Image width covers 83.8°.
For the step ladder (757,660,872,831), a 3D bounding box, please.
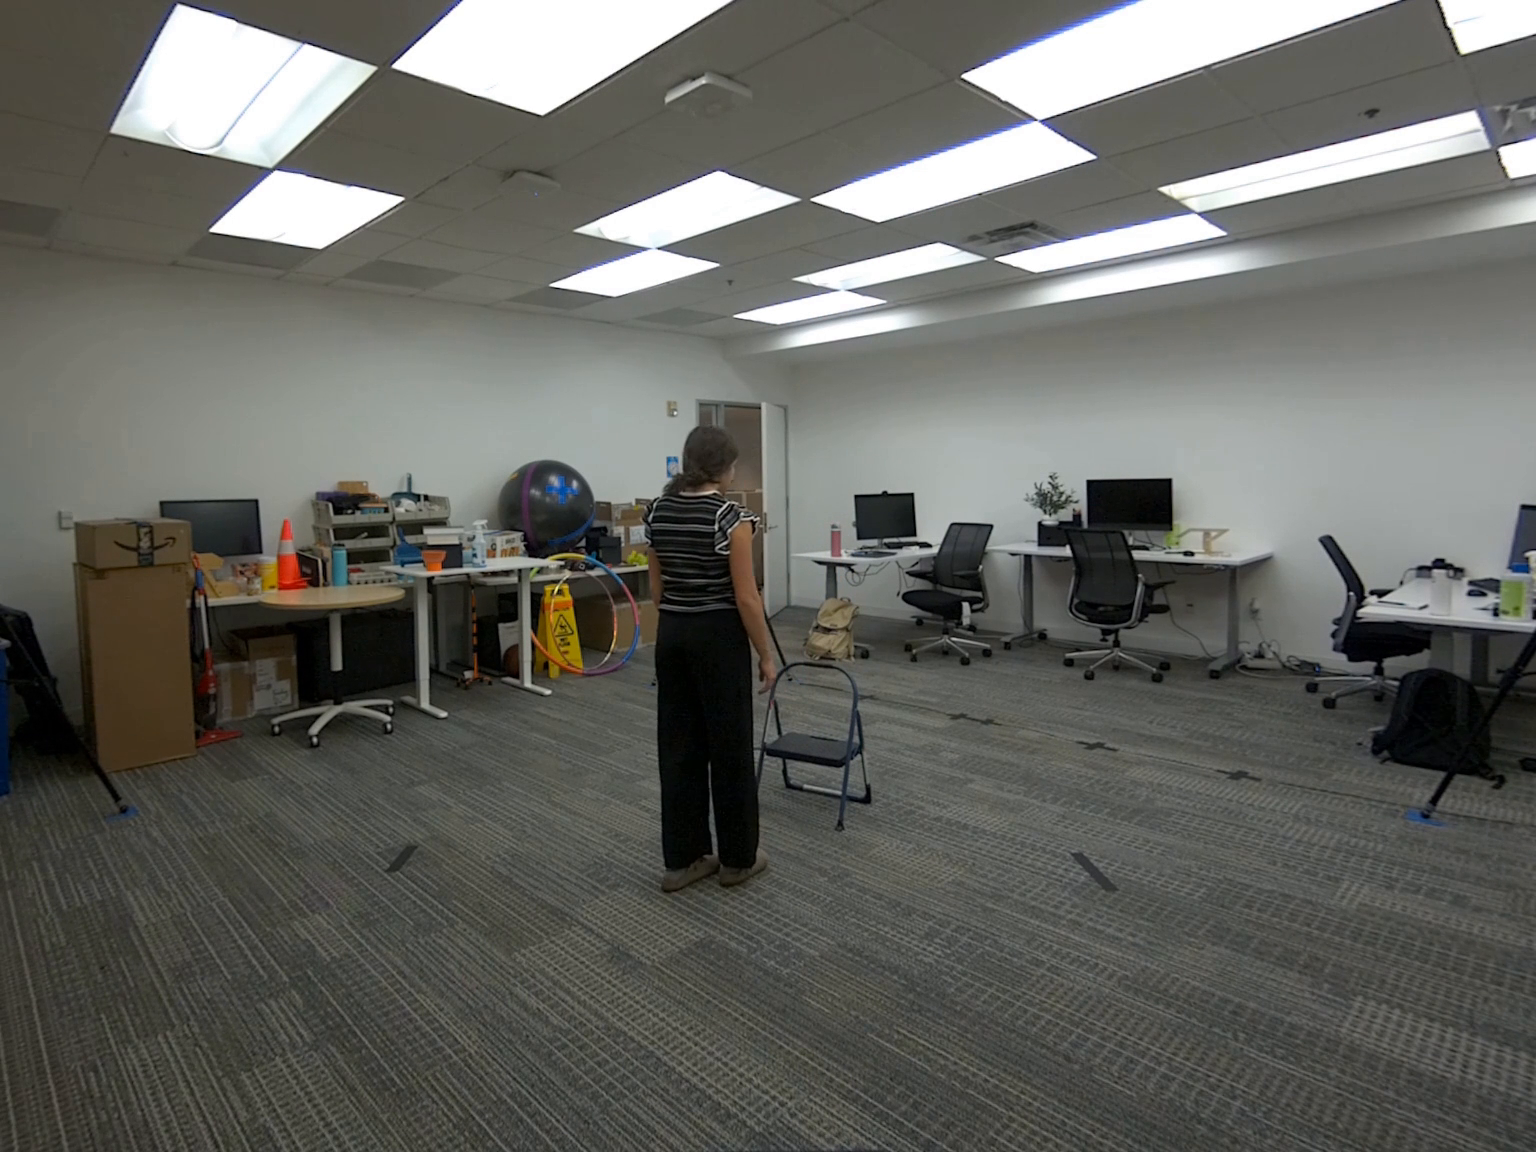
[{"bbox_3d":[0.184,0.682,3.615,0.442,0.604,0.341,2,5,30],"label":"step ladder"}]
